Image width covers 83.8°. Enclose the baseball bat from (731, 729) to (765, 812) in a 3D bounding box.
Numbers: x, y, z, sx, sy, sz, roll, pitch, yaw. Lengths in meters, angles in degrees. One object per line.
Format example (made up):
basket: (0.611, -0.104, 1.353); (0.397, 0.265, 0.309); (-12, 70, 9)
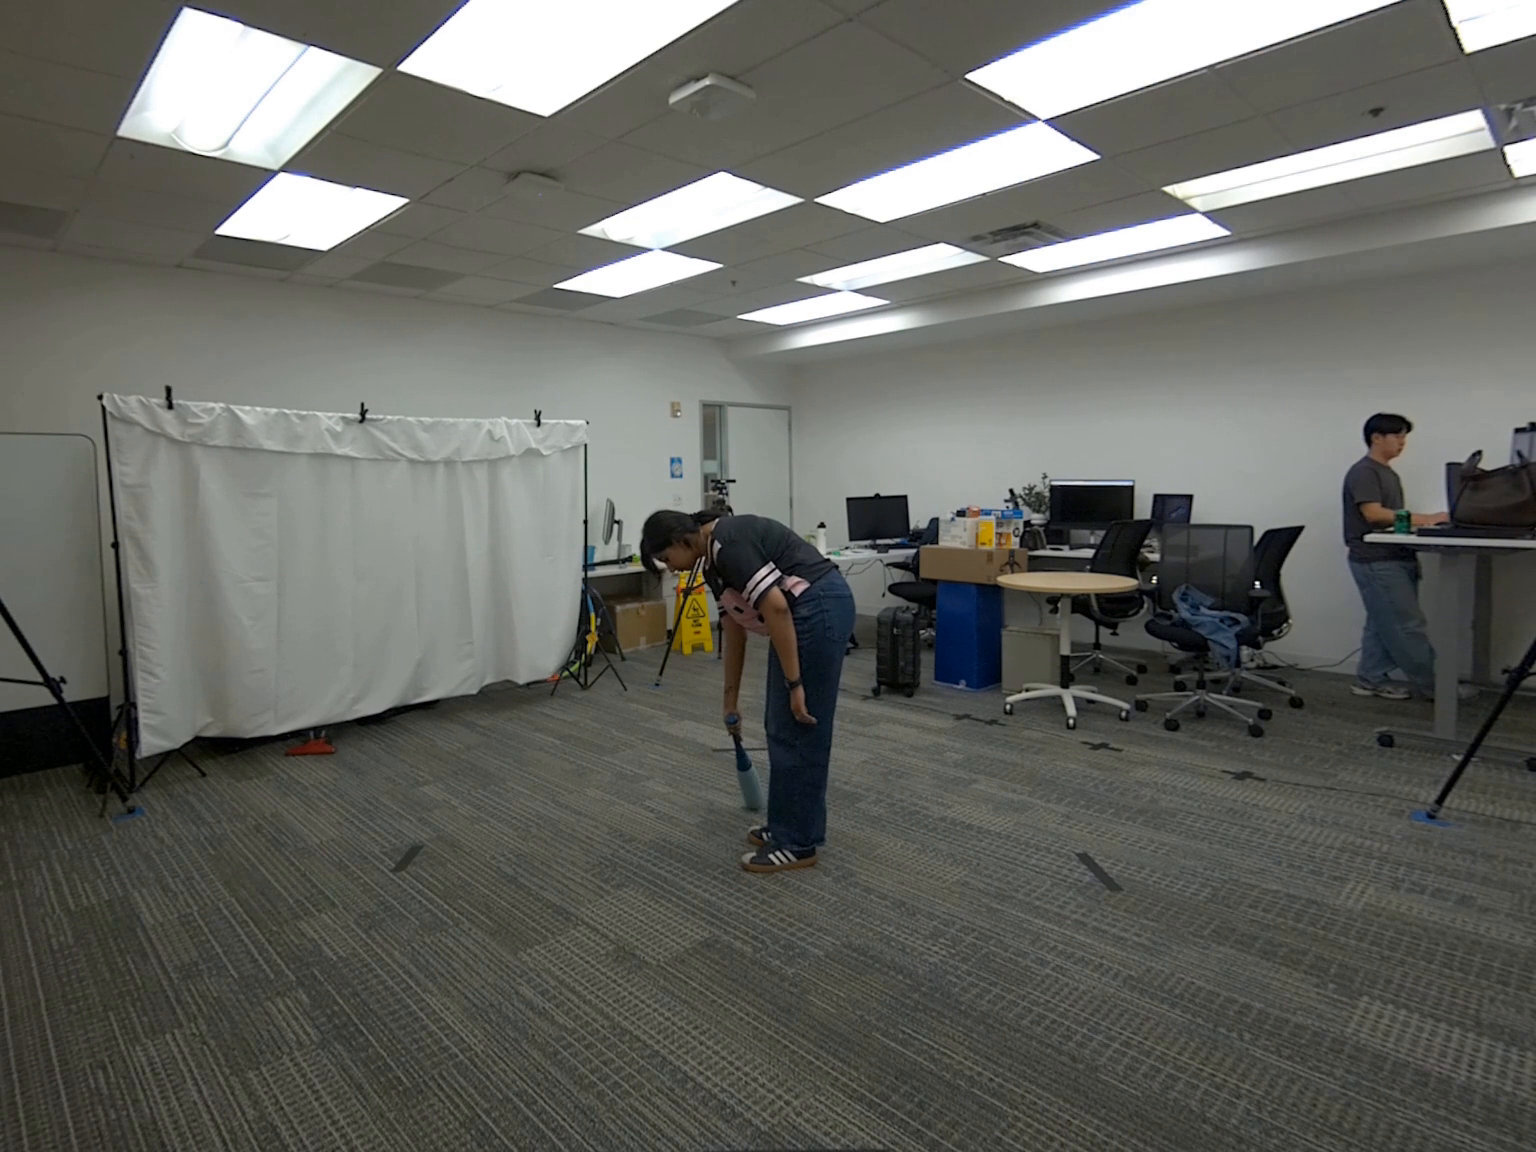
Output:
baseball bat: (-0.104, 0.766, 3.502); (0.089, 0.526, 0.091); (-9, 37, 5)
